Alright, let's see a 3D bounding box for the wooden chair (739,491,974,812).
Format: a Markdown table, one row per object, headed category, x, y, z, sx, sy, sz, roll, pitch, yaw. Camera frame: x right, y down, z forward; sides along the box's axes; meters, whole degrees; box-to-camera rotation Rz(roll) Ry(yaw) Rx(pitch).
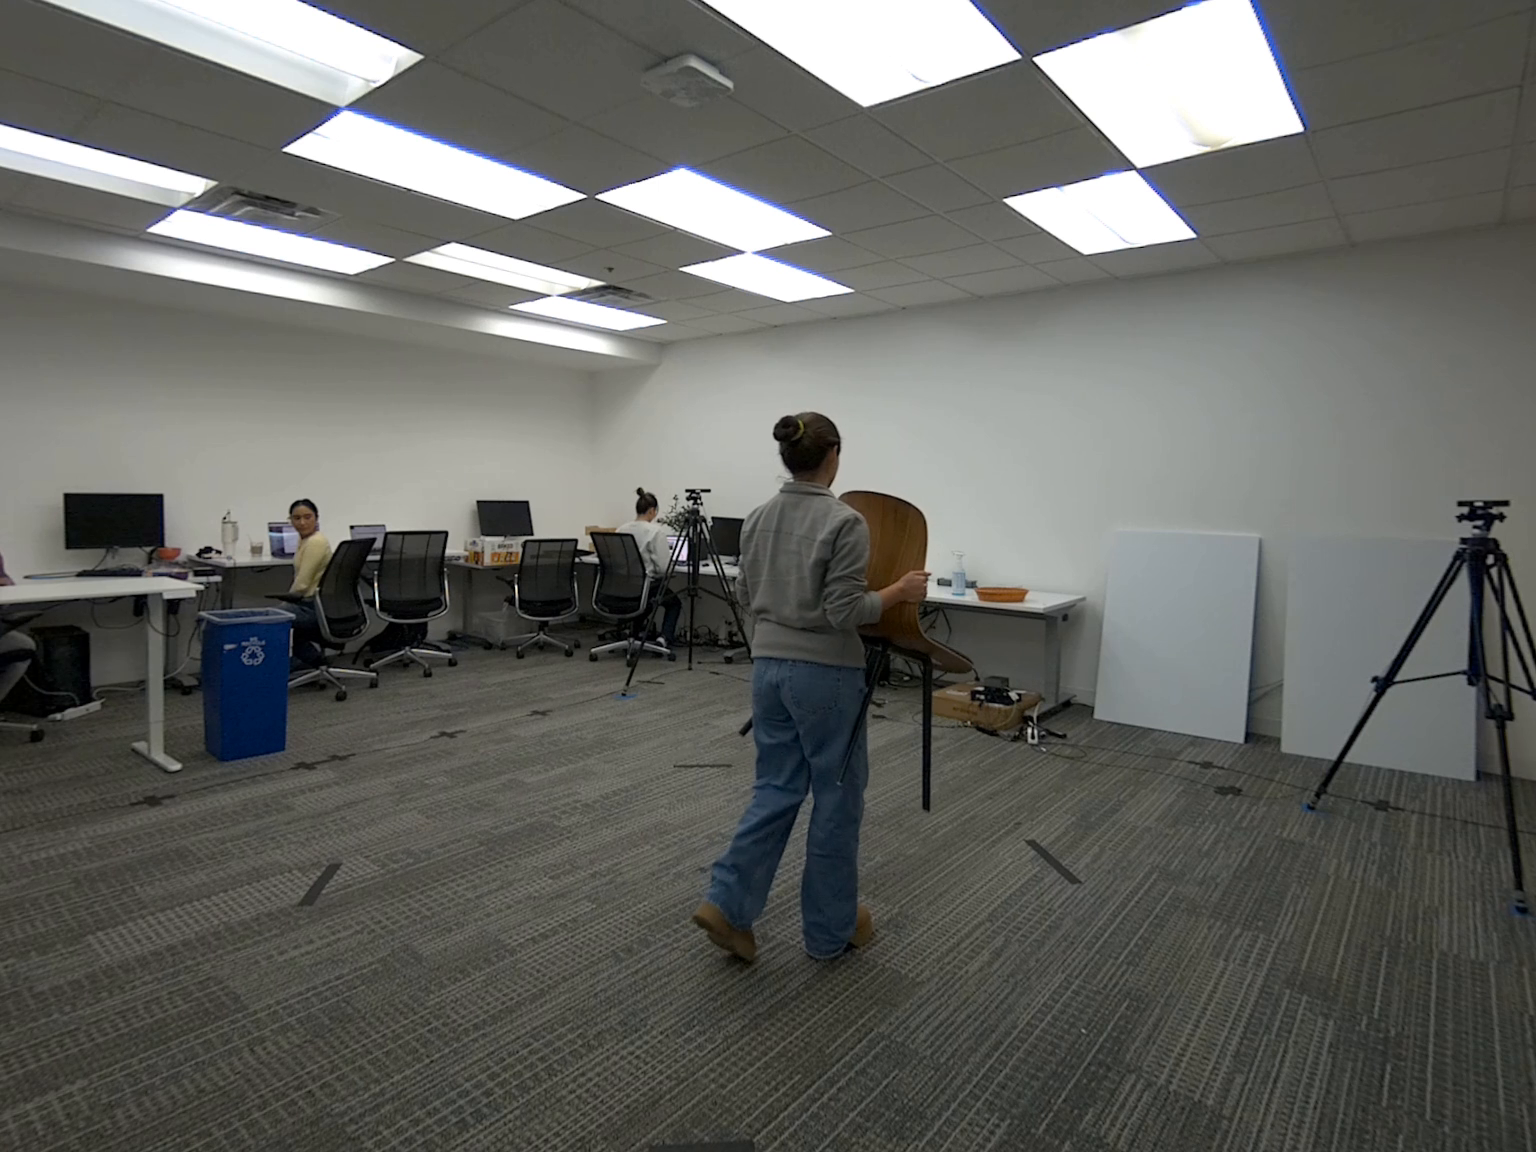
| category | x | y | z | sx | sy | sz | roll | pitch | yaw |
| --- | --- | --- | --- | --- | --- | --- | --- | --- | --- |
| wooden chair | 0.344 | 0.222 | 2.734 | 0.503 | 0.880 | 0.495 | 22 | -7 | -41 |
